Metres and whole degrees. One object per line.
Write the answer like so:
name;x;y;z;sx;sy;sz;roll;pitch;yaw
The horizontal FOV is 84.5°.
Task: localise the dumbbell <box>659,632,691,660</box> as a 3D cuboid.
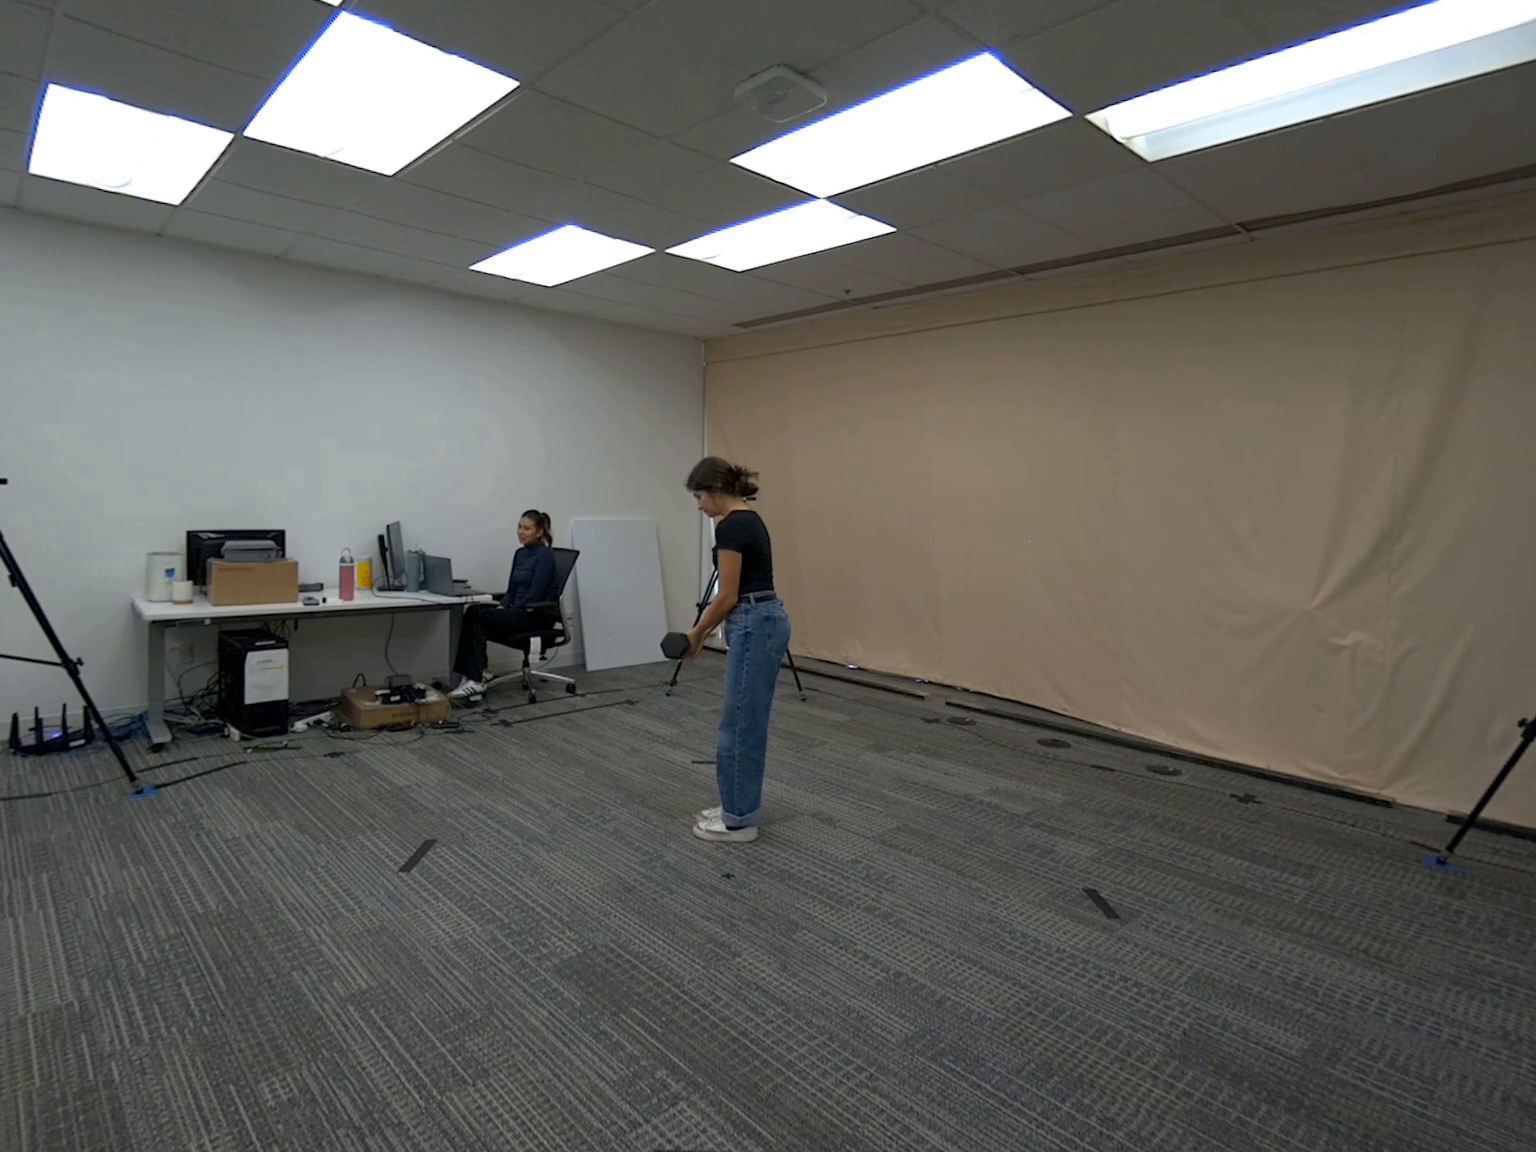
dumbbell;-0.365;0.282;3.526;0.110;0.123;0.290;36;2;8
